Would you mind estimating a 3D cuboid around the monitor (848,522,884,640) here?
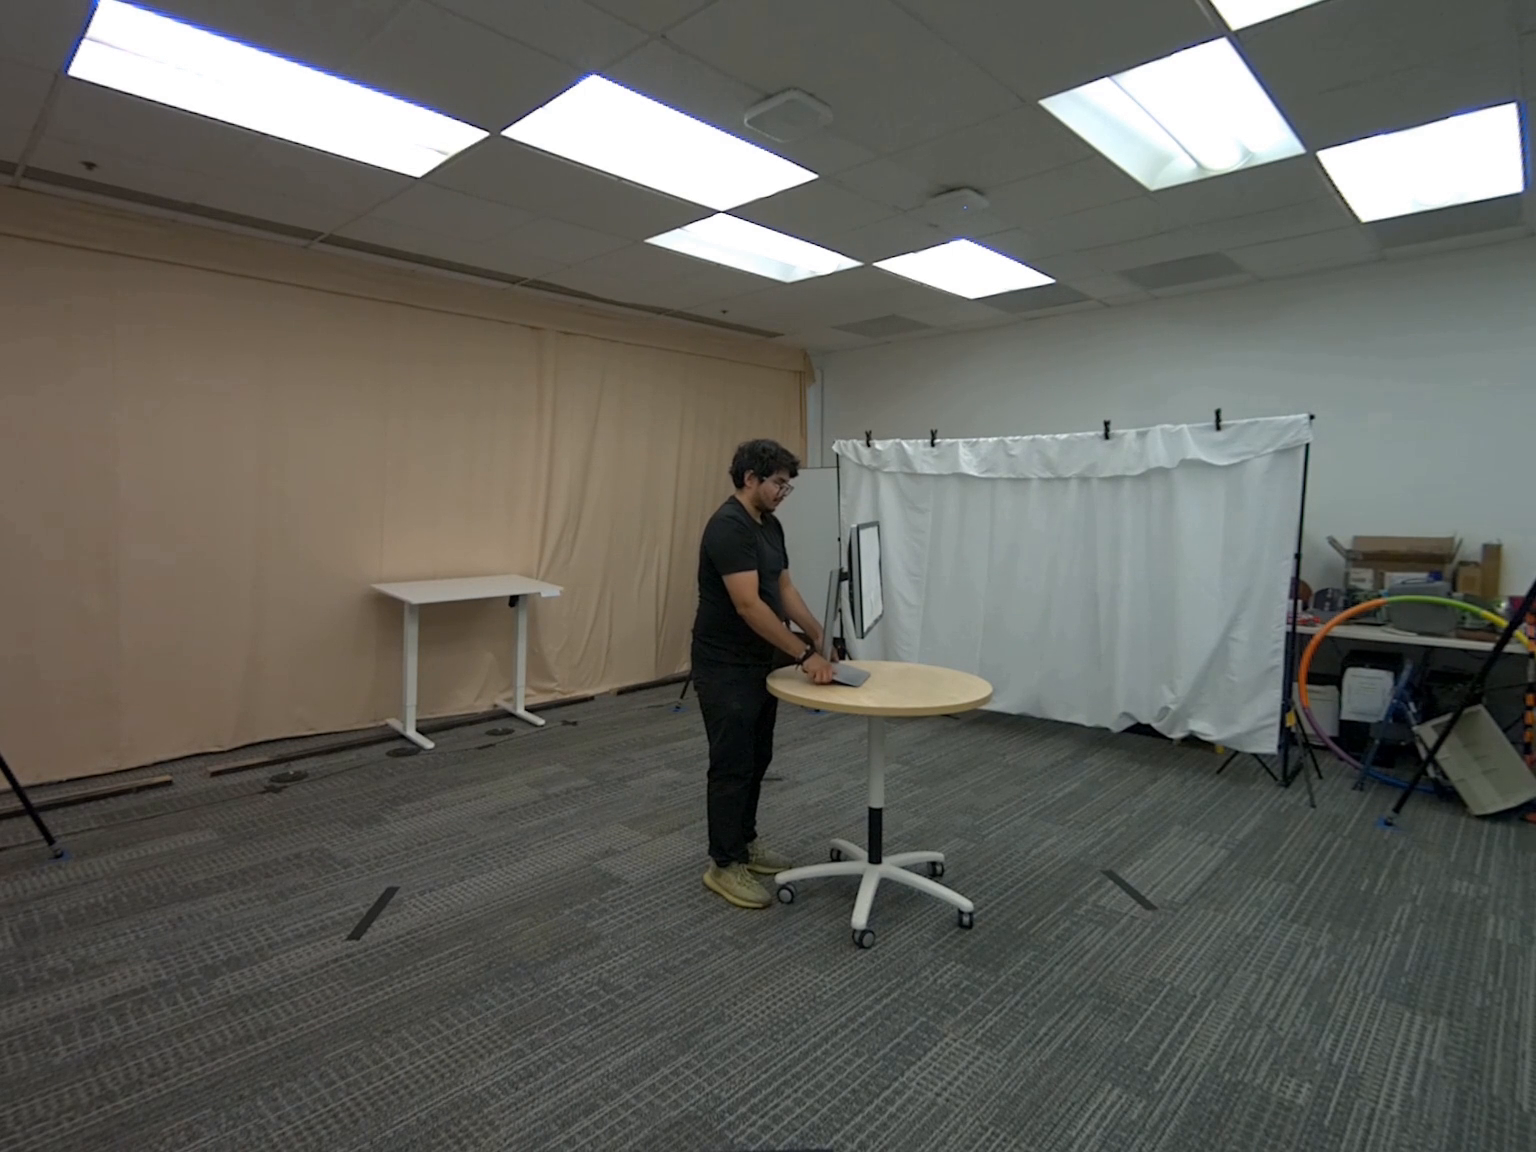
[{"bbox_3d":[0.277,0.082,2.934,0.214,0.552,0.556,5,5,15],"label":"monitor"}]
